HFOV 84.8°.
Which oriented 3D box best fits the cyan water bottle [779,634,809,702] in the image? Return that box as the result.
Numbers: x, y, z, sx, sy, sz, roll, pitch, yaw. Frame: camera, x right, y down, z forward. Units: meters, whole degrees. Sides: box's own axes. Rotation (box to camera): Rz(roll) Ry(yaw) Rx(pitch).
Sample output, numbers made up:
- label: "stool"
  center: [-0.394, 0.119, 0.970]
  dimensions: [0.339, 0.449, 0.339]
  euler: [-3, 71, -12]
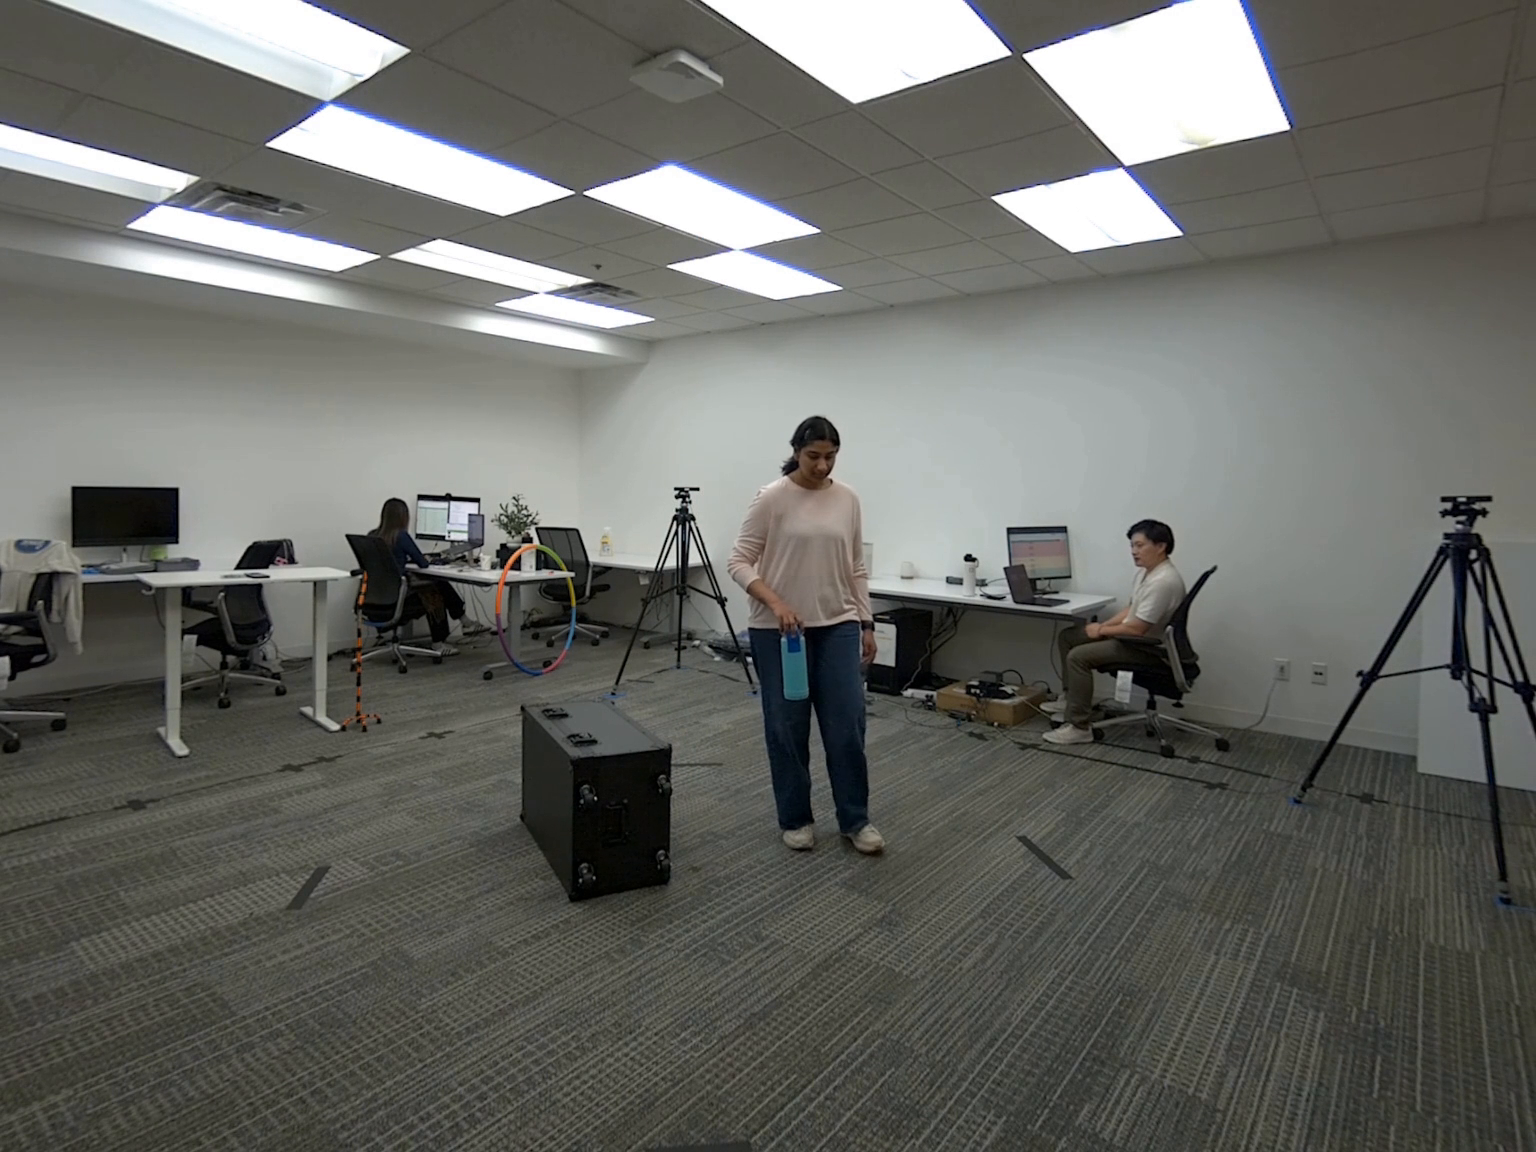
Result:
- label: "cyan water bottle"
  center: [0.092, 0.299, 3.127]
  dimensions: [0.092, 0.282, 0.093]
  euler: [-4, 4, -1]
